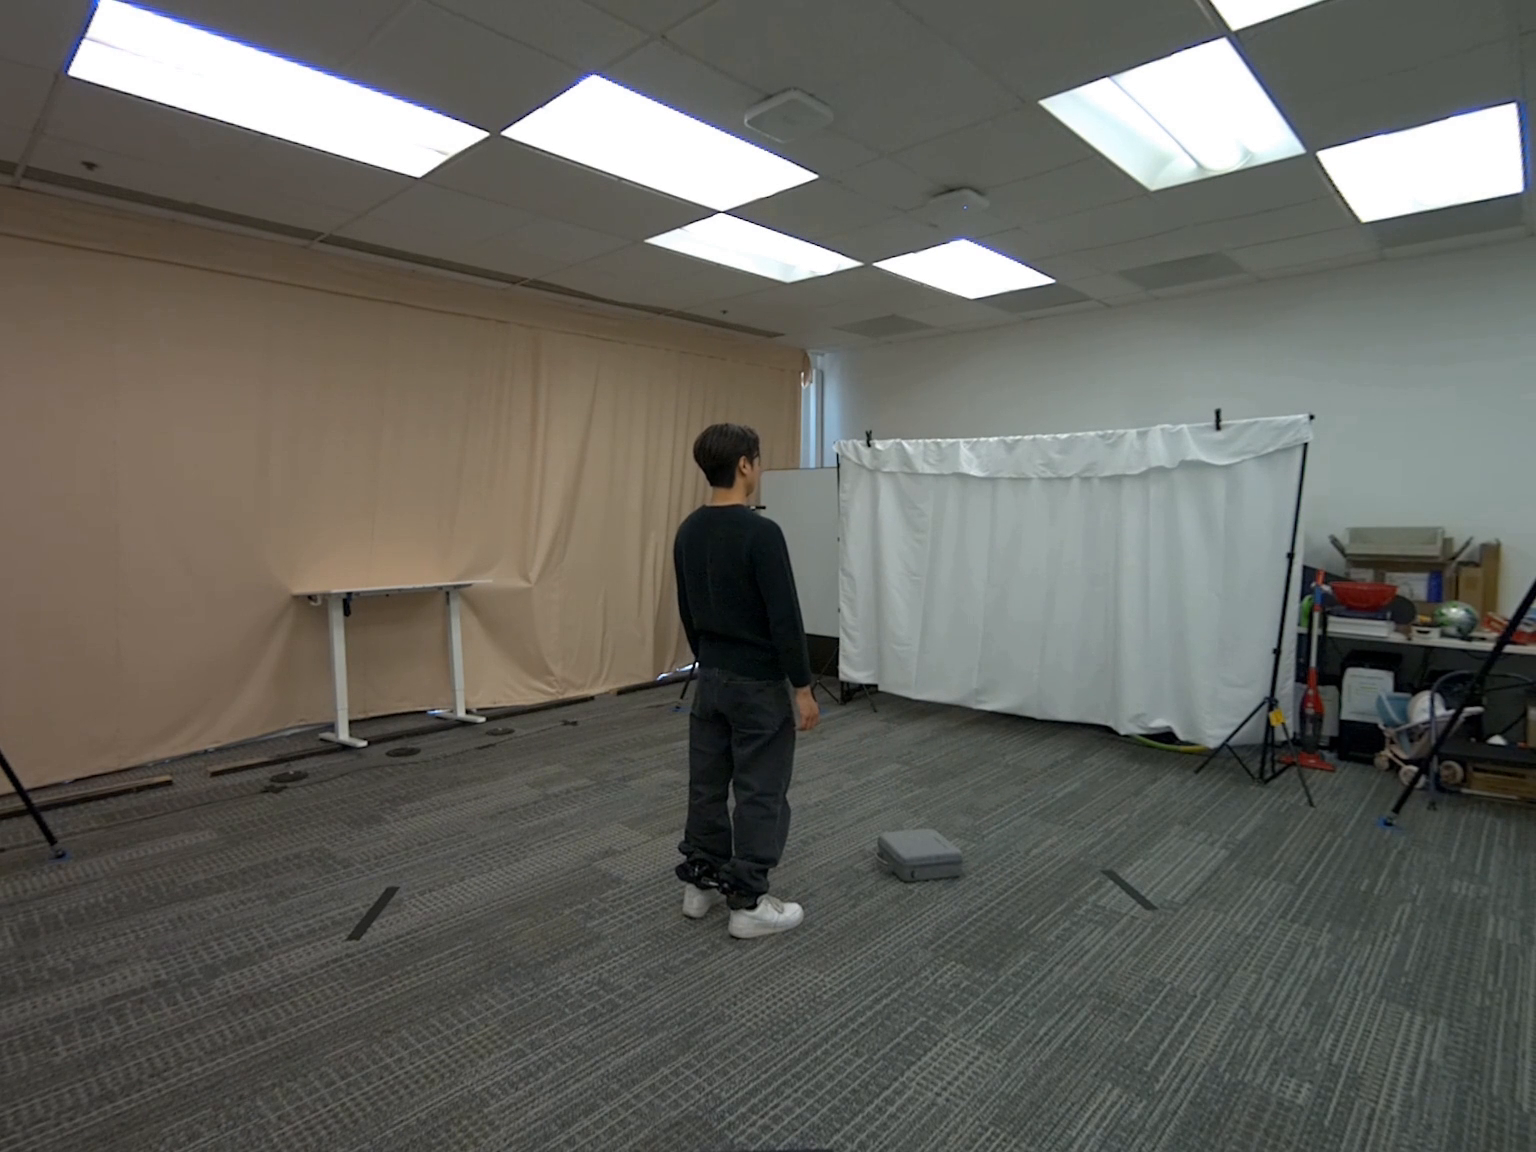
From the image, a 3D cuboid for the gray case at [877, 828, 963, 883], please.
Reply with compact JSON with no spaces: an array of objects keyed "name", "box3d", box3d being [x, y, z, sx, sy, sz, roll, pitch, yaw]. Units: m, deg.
[{"name":"gray case","box3d":[0.581,1.066,3.233,0.257,0.104,0.261,-2,6,-13]}]
